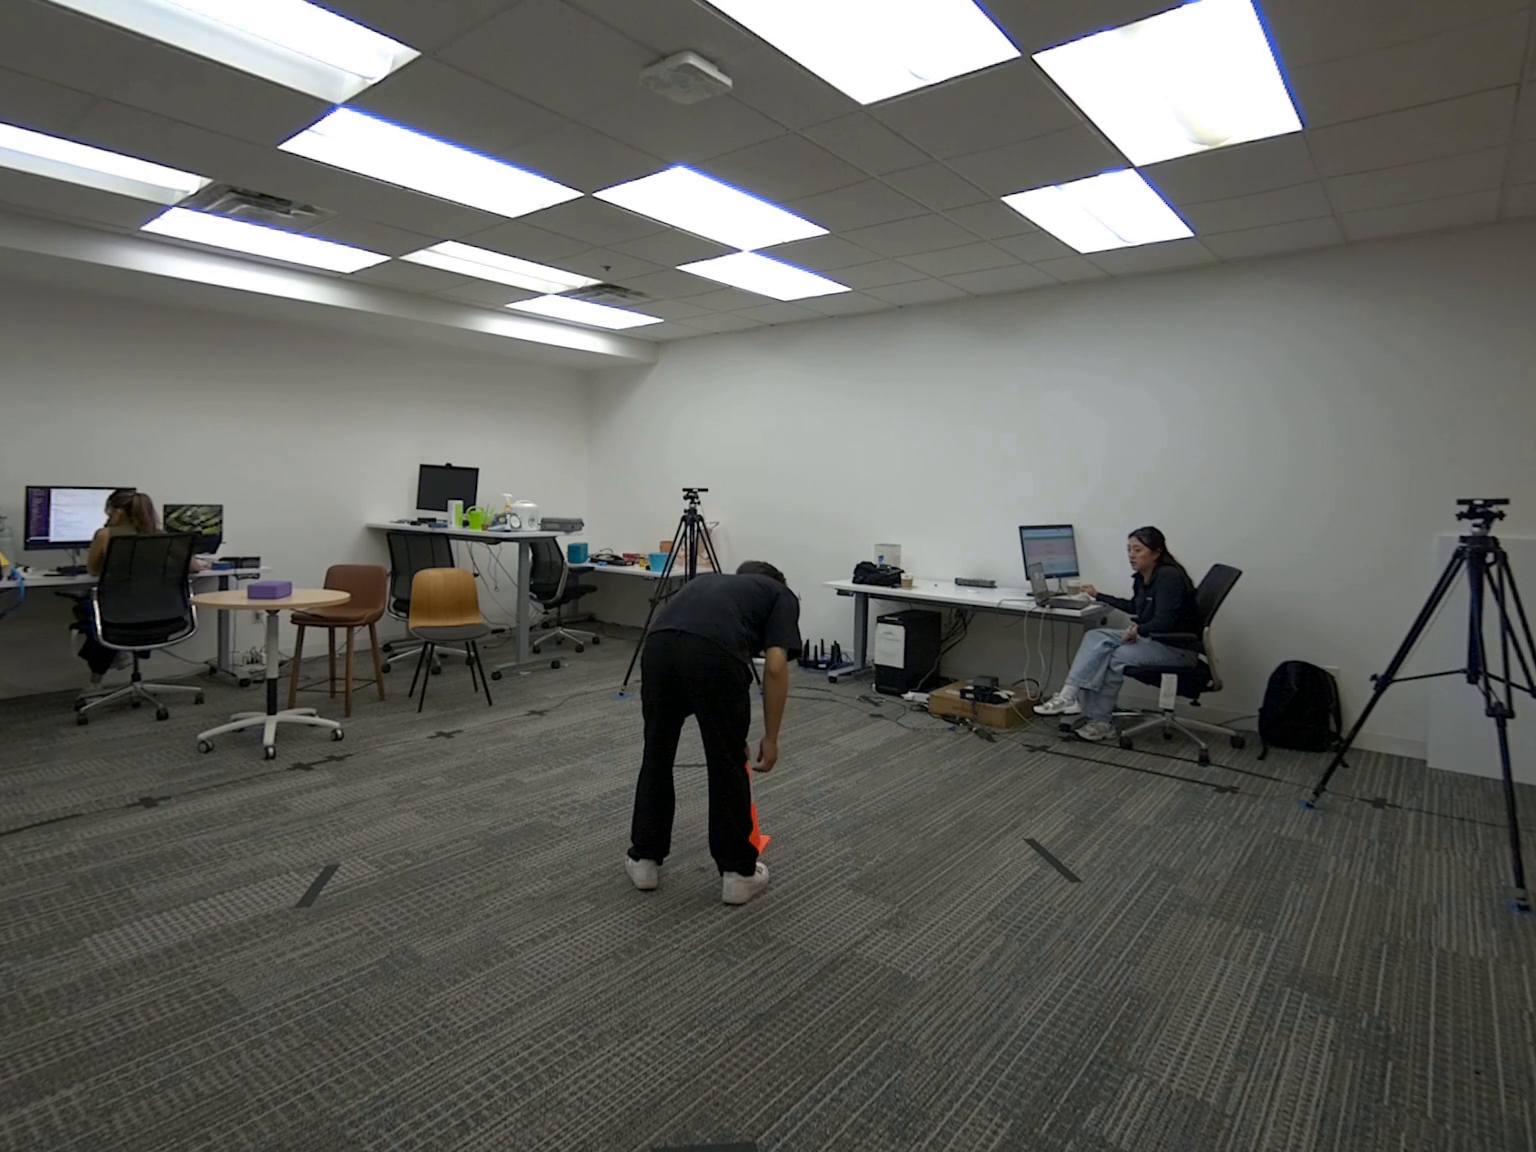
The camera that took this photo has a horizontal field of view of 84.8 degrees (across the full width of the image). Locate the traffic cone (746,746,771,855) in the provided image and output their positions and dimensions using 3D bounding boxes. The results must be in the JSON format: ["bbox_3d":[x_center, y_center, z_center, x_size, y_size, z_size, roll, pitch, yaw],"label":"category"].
[{"bbox_3d":[-0.108,0.860,3.339,0.209,0.382,0.200,3,4,17],"label":"traffic cone"}]
